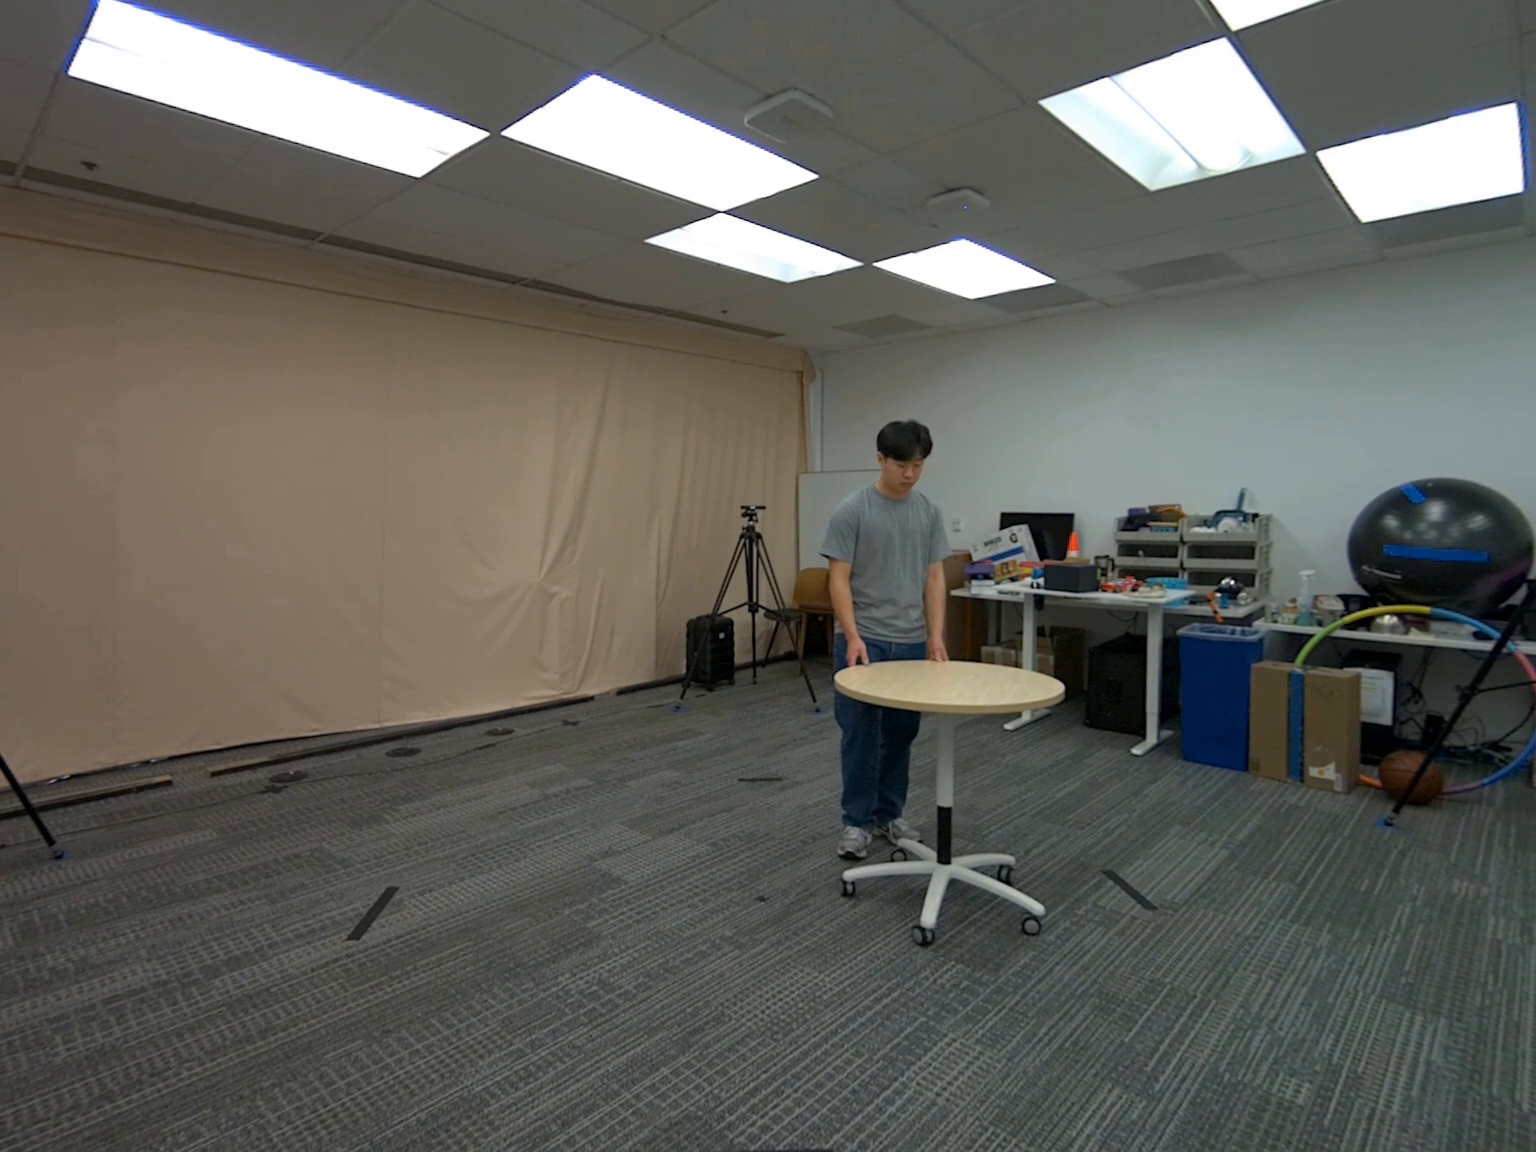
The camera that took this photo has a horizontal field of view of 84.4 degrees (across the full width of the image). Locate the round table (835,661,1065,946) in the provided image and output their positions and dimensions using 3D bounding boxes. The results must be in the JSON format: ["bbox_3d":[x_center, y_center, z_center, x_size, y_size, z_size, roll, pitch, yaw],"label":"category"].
[{"bbox_3d":[0.622,0.754,2.943,0.763,0.792,0.766,0,3,-2],"label":"round table"}]
